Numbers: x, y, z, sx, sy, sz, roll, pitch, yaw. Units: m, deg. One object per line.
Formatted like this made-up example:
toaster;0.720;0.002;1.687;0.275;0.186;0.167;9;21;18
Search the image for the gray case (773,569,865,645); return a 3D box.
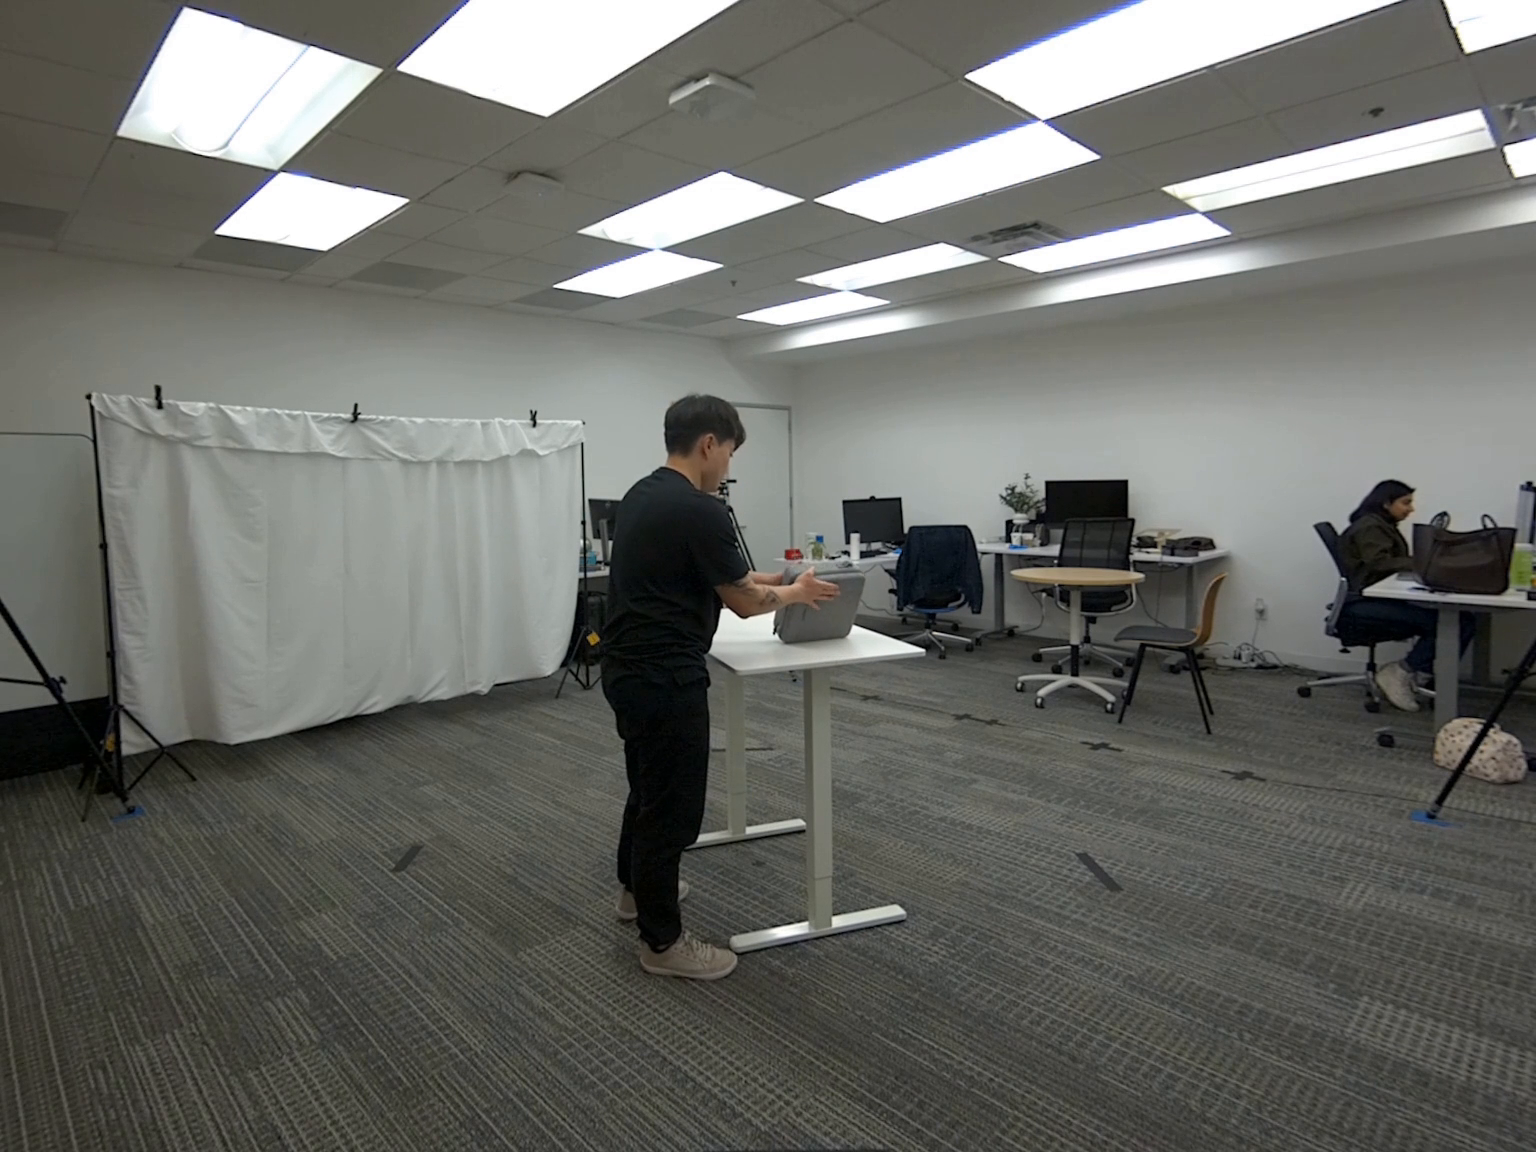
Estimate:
gray case;0.166;0.080;2.688;0.255;0.252;0.108;-3;32;-23
